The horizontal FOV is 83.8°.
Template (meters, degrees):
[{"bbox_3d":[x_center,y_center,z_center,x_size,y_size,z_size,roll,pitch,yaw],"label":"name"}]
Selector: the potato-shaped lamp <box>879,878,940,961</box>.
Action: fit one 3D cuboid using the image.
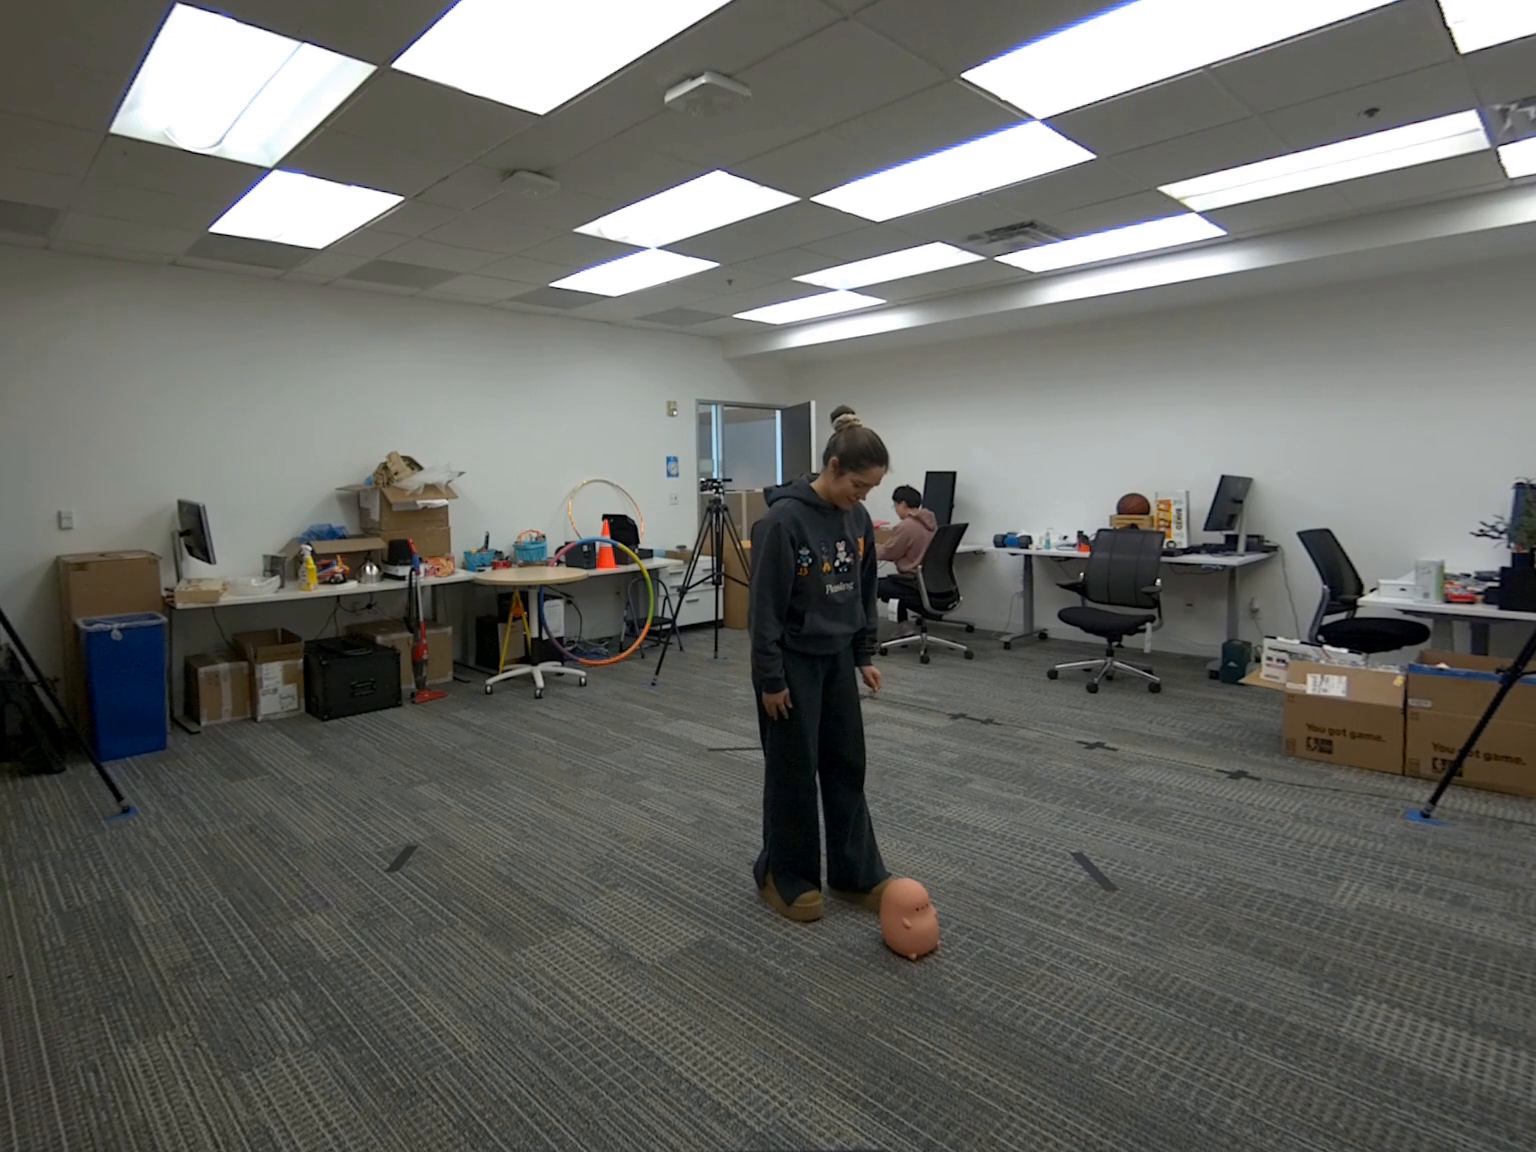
[{"bbox_3d":[0.421,1.004,2.524,0.160,0.197,0.176,-4,6,-36],"label":"potato-shaped lamp"}]
